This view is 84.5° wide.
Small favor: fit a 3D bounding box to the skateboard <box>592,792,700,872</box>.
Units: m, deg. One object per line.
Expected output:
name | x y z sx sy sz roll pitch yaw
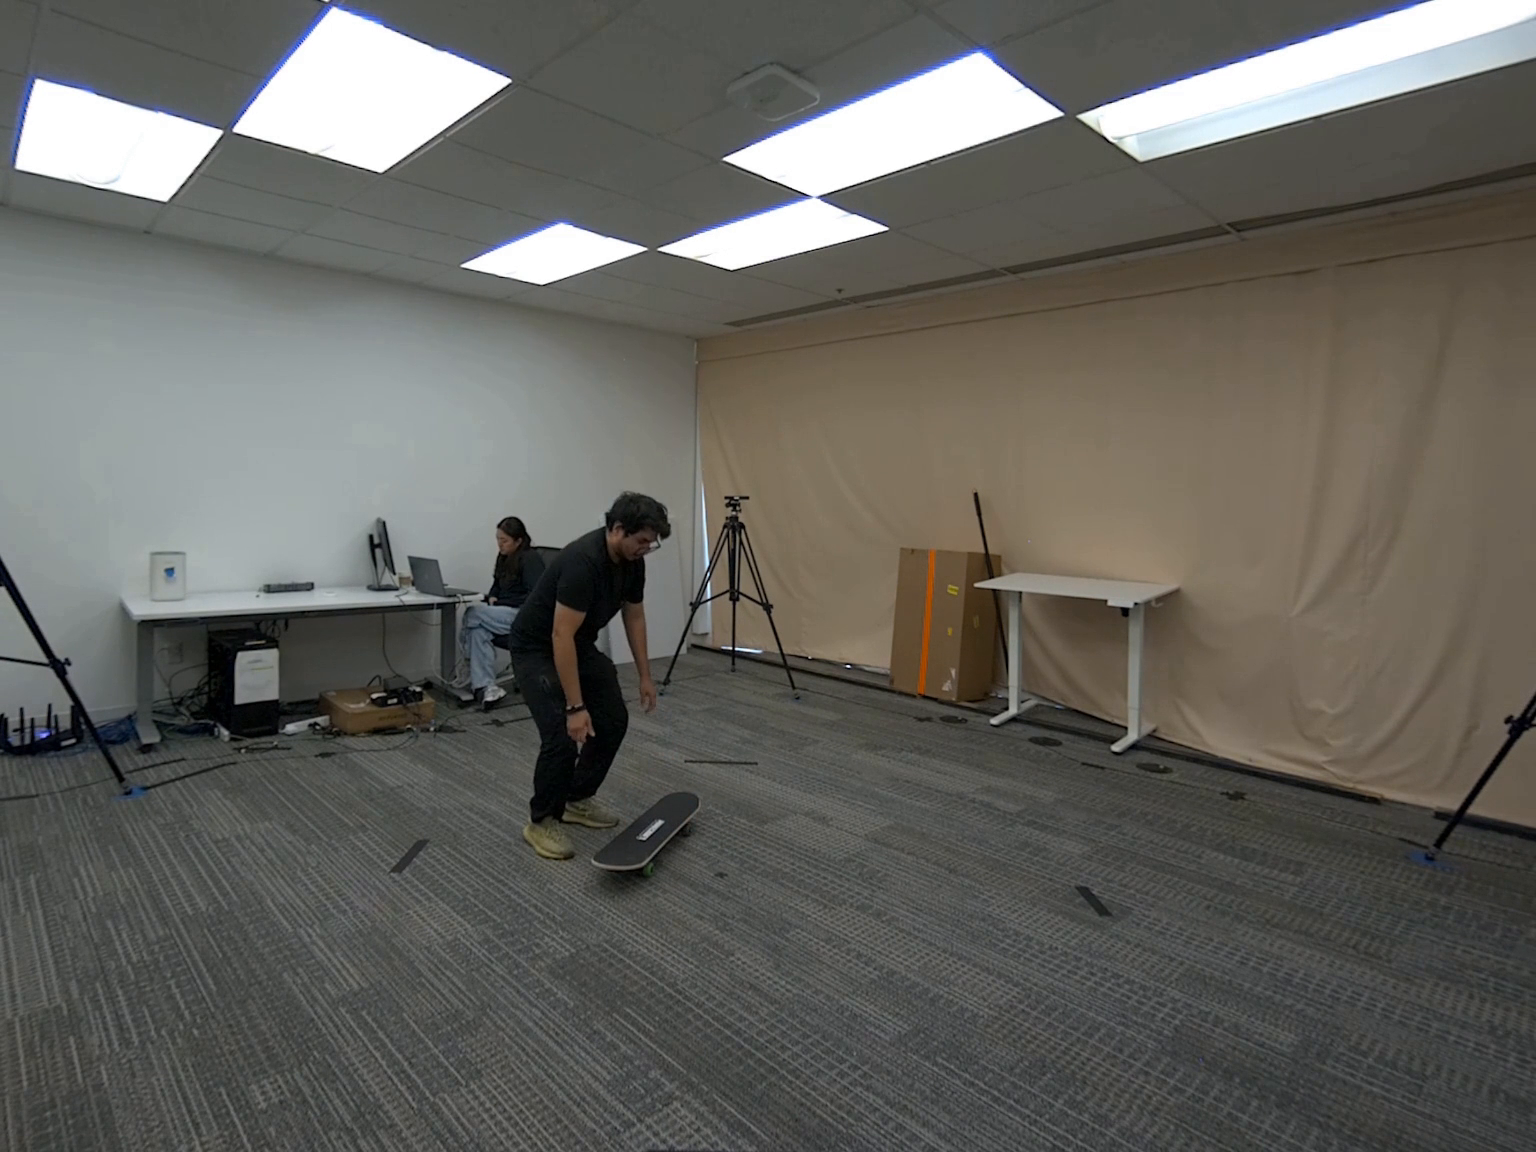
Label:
skateboard | -0.458 1.023 3.287 0.196 0.110 0.776 3 4 16
